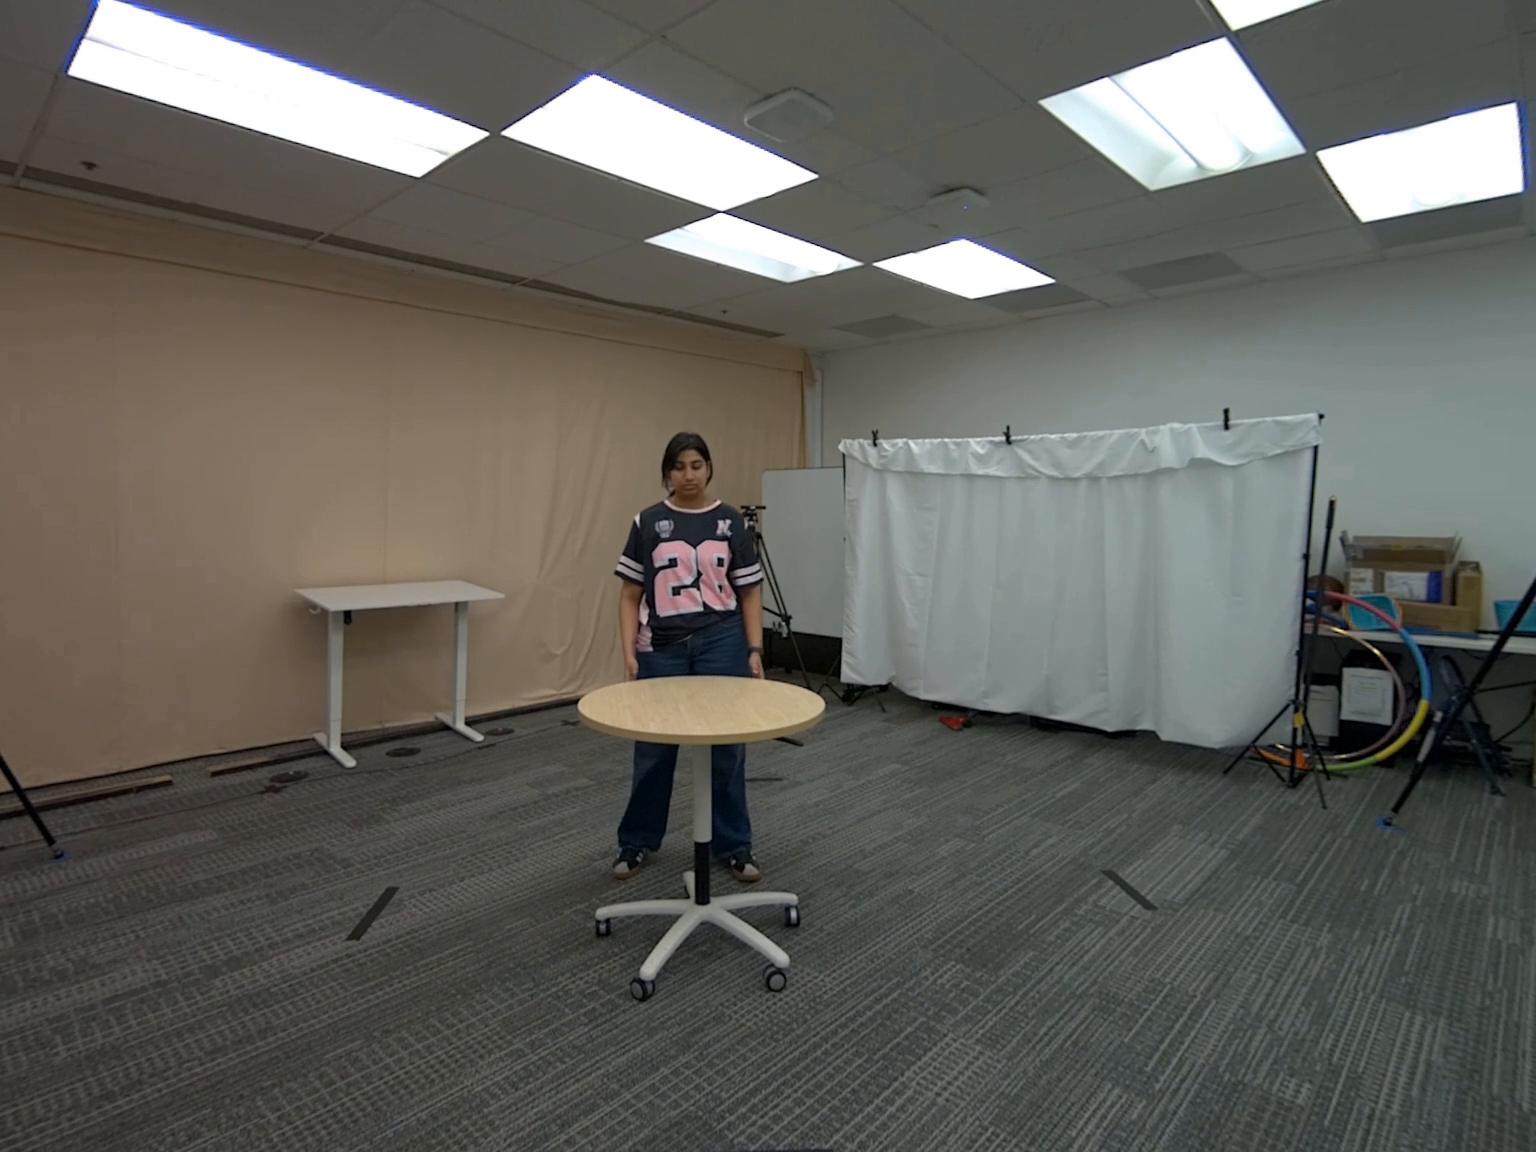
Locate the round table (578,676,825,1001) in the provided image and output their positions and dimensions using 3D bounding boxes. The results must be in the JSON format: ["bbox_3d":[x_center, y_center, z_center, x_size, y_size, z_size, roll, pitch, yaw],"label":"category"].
[{"bbox_3d":[-0.204,0.780,2.652,0.763,0.792,0.767,0,4,-2],"label":"round table"}]
